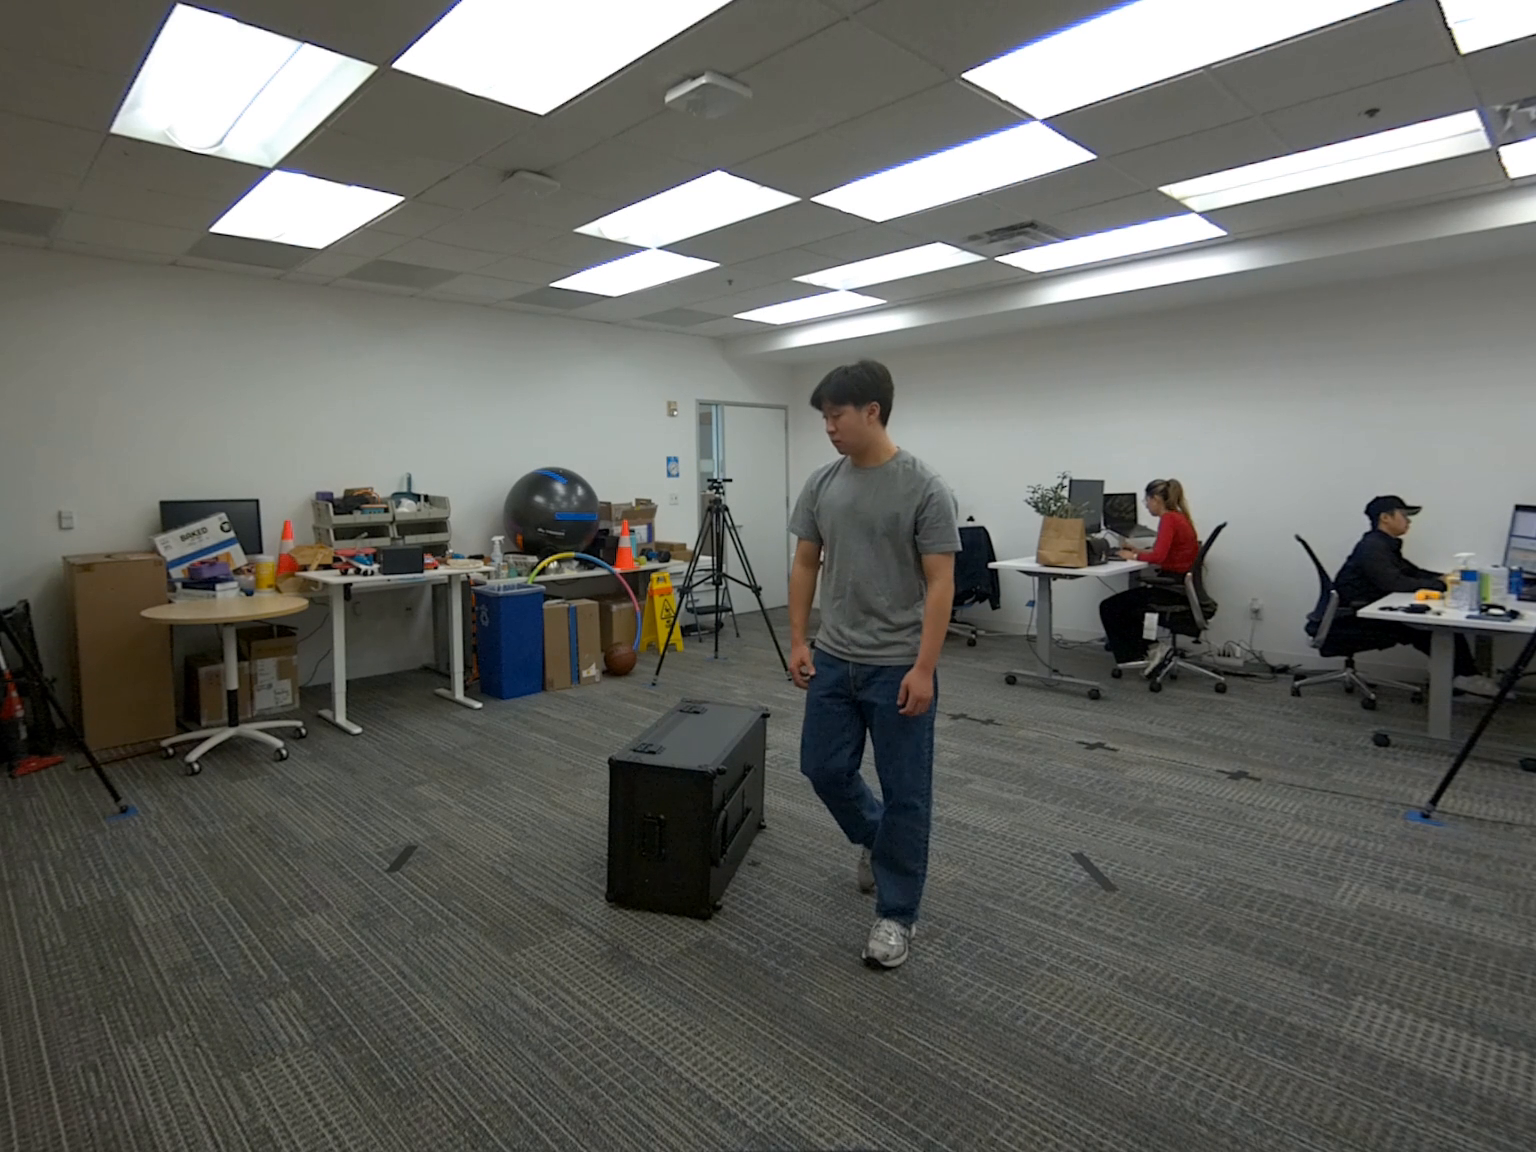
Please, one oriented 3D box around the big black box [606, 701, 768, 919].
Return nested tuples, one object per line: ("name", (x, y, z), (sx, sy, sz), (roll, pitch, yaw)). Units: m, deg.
("big black box", (-0.242, 0.787, 3.140), (0.402, 0.519, 0.853), (4, 7, 13))
